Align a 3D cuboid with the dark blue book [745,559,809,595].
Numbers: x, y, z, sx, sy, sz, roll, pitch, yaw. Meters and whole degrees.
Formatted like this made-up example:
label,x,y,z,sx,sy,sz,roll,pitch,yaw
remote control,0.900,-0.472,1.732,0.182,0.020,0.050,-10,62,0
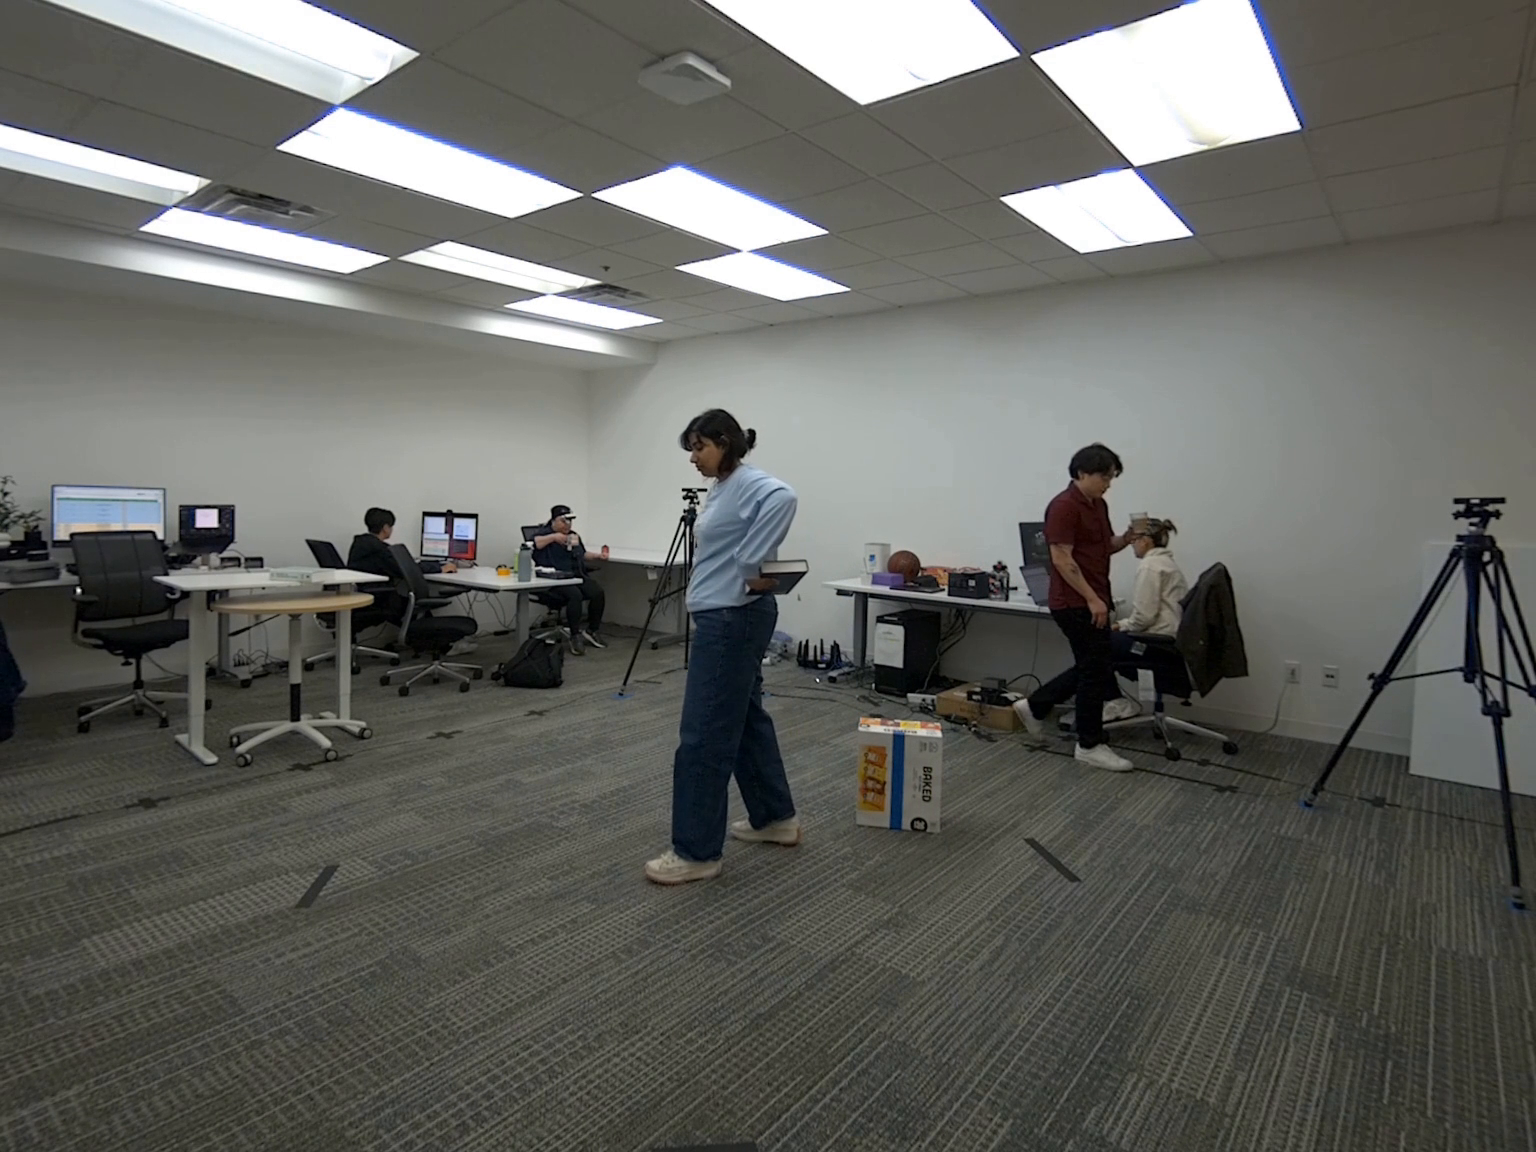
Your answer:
label,x,y,z,sx,sy,sz,roll,pitch,yaw
dark blue book,0.004,0.002,2.903,0.161,0.046,0.243,-2,-18,-14
